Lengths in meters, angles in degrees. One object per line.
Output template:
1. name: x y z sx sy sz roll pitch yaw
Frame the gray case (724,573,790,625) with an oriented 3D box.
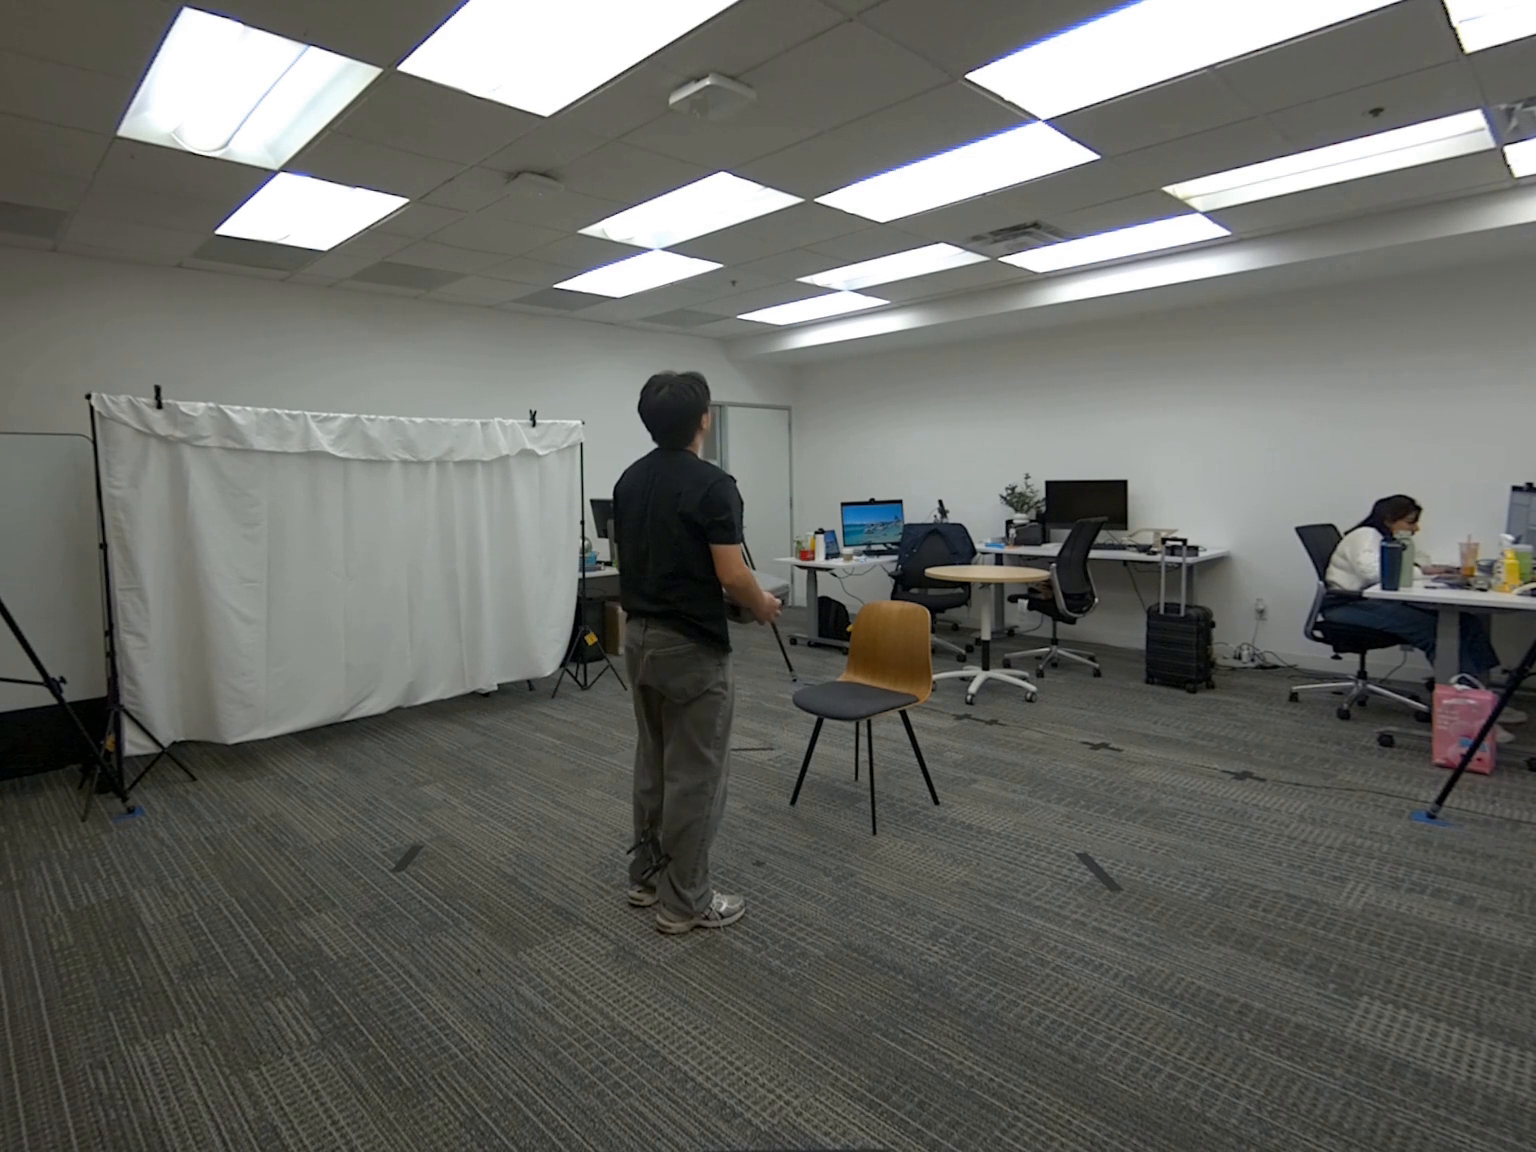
1. gray case: -0.079 0.063 2.976 0.271 0.102 0.282 10 18 35
